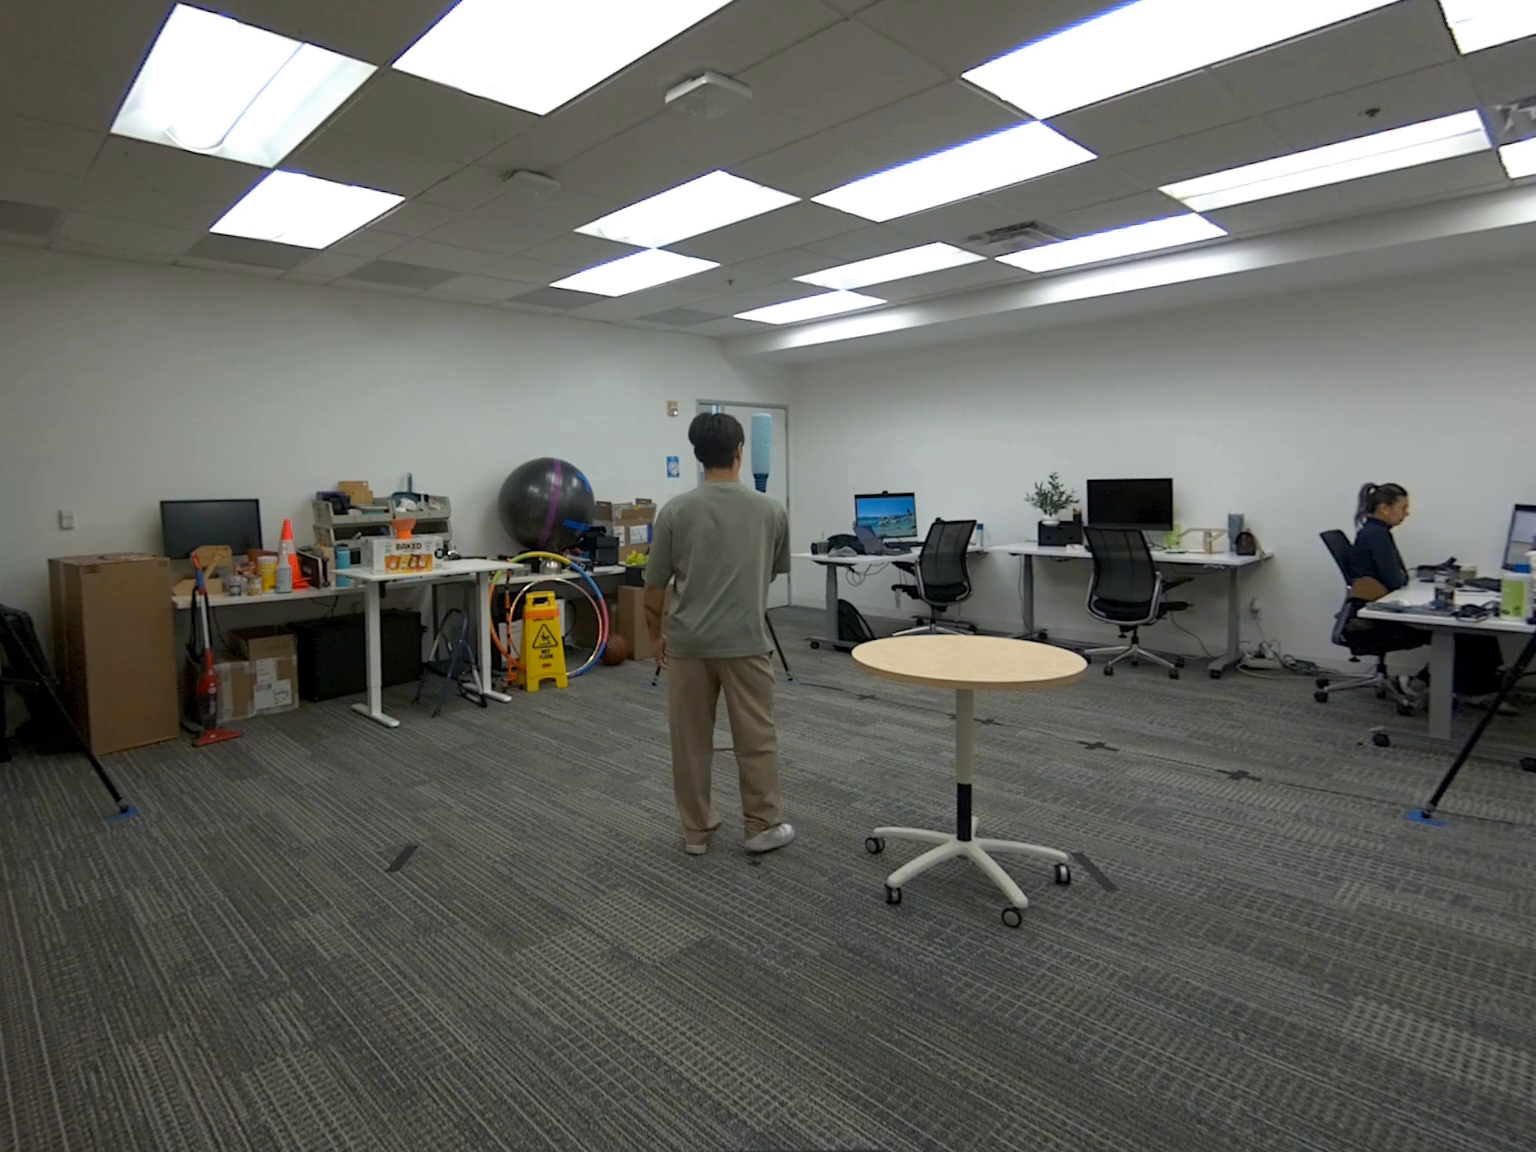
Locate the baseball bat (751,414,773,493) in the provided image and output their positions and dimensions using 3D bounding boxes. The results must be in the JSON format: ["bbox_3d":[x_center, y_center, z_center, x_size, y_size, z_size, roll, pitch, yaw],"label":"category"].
[{"bbox_3d":[-0.027,-0.414,3.610,0.089,0.542,0.089,1,3,-2],"label":"baseball bat"}]
